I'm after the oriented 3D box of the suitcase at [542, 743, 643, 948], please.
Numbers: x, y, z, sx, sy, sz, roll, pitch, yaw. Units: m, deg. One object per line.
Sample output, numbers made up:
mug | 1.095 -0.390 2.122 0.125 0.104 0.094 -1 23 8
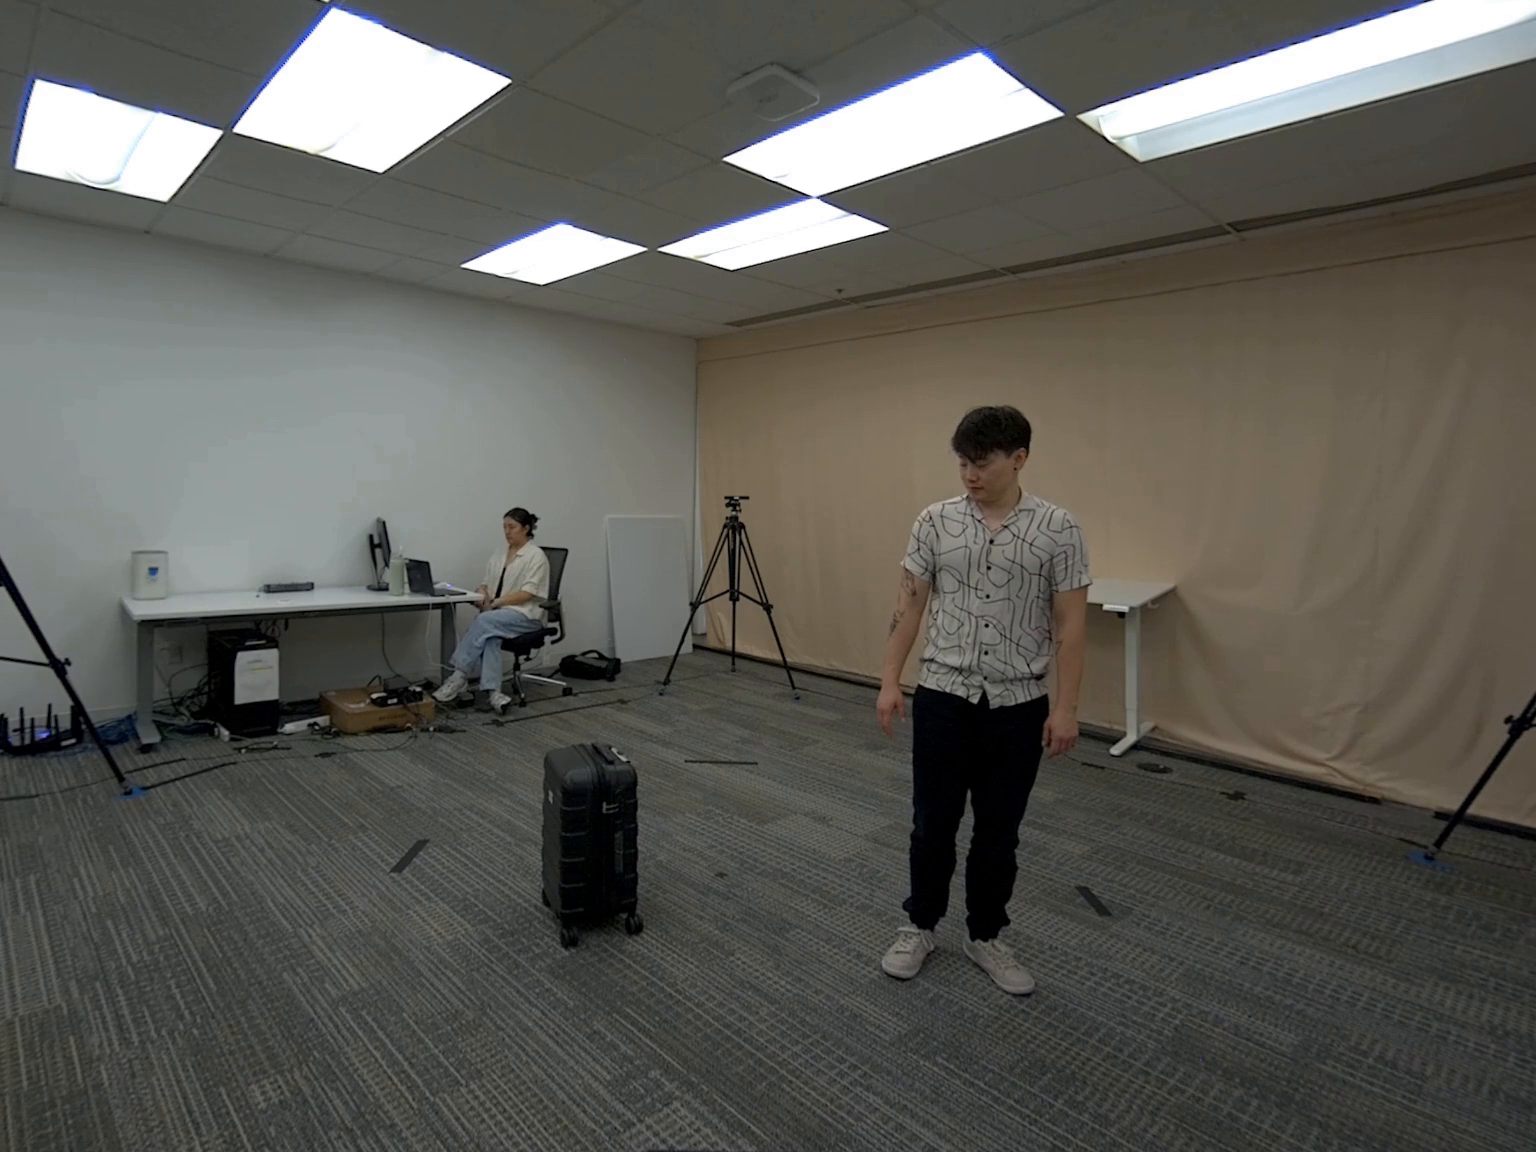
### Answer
suitcase | -0.596 0.847 2.766 0.244 0.548 0.383 0 4 -24
